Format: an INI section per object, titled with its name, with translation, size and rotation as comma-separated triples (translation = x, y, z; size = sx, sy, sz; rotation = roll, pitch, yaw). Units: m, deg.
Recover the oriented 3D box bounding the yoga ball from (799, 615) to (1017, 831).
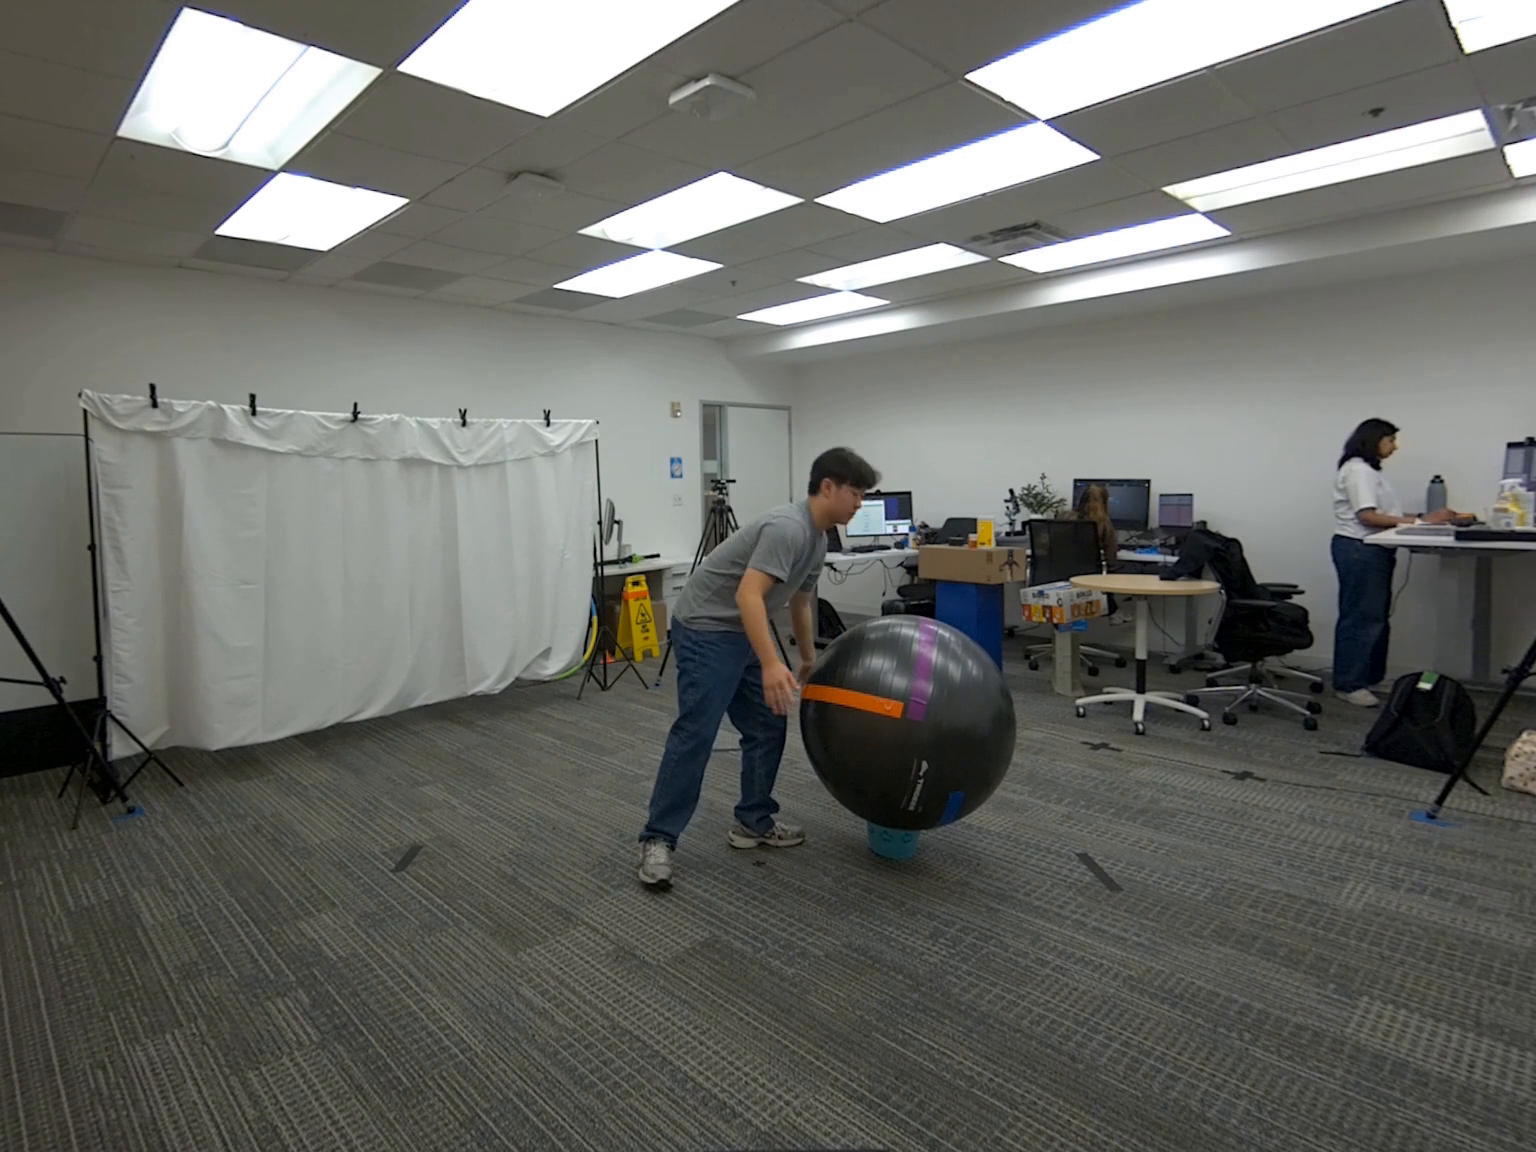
[yoga ball]
translation = 0.502, 0.529, 3.086
size = 0.757, 0.755, 0.762
rotation = -1, 5, -2
